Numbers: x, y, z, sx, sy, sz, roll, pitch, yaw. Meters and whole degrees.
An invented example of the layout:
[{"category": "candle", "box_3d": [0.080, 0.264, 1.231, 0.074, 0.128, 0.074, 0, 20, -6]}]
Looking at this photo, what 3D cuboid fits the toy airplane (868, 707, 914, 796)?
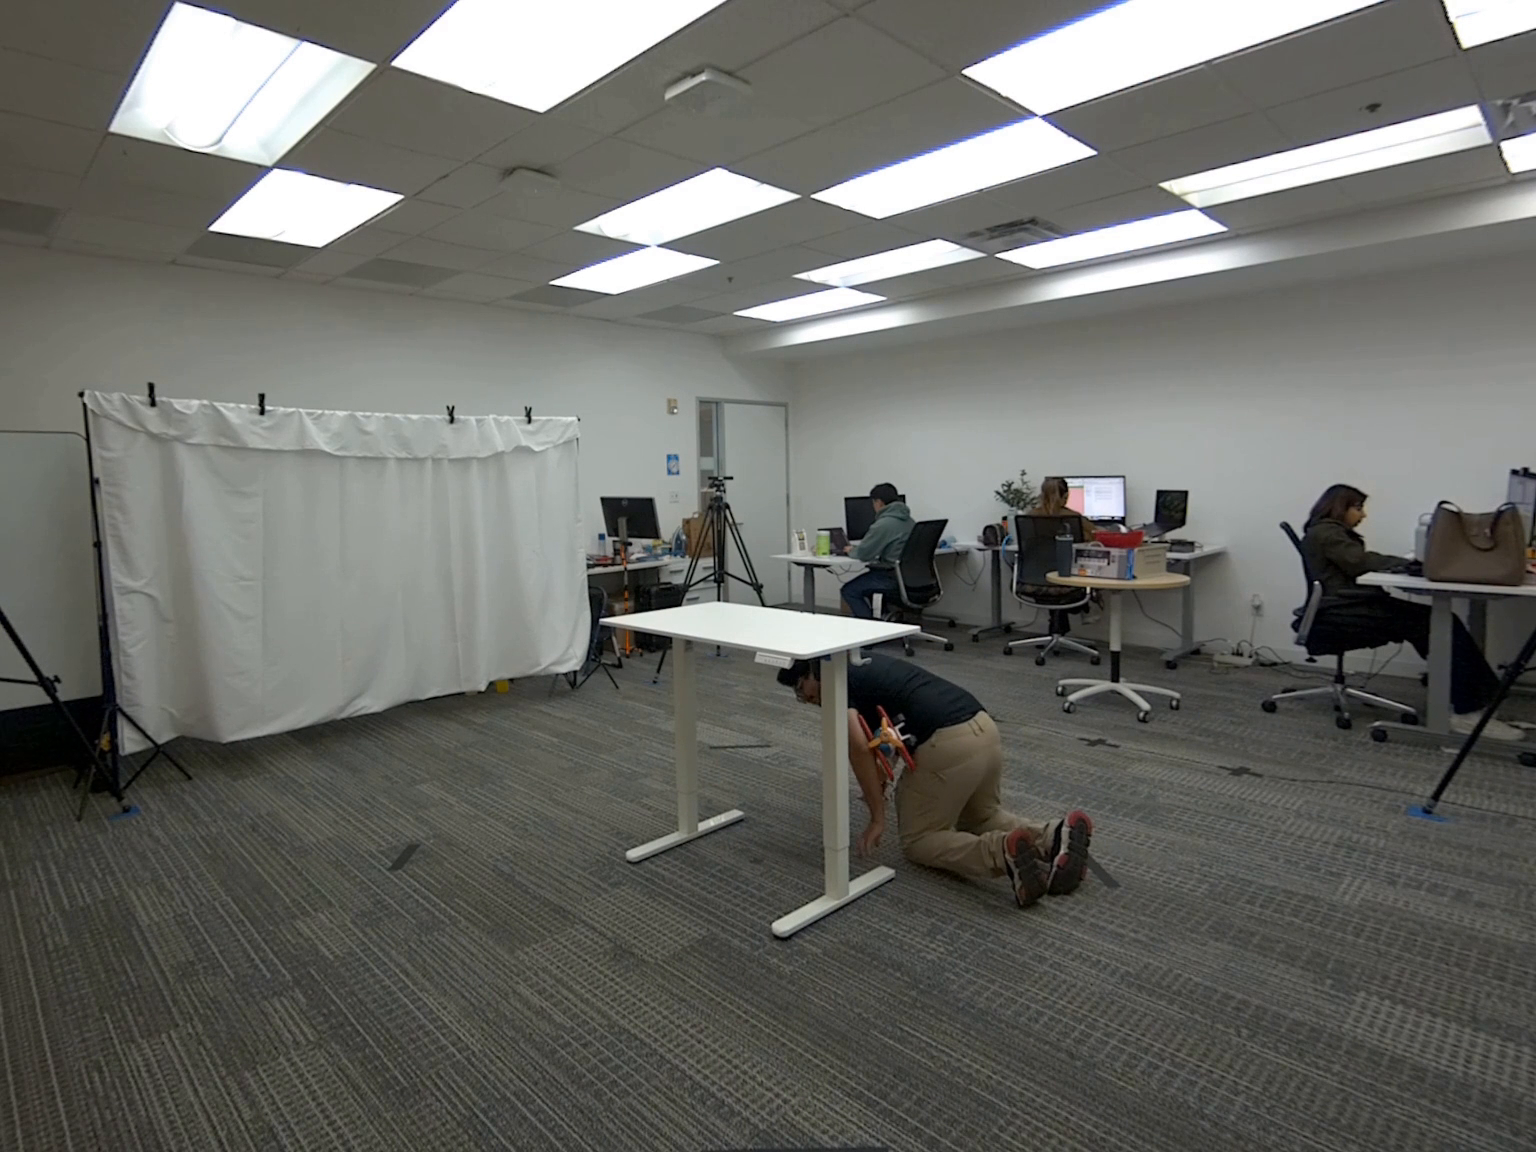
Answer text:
[{"category": "toy airplane", "box_3d": [0.441, 0.611, 3.076, 0.156, 0.251, 0.260, -24, 34, -5]}]
